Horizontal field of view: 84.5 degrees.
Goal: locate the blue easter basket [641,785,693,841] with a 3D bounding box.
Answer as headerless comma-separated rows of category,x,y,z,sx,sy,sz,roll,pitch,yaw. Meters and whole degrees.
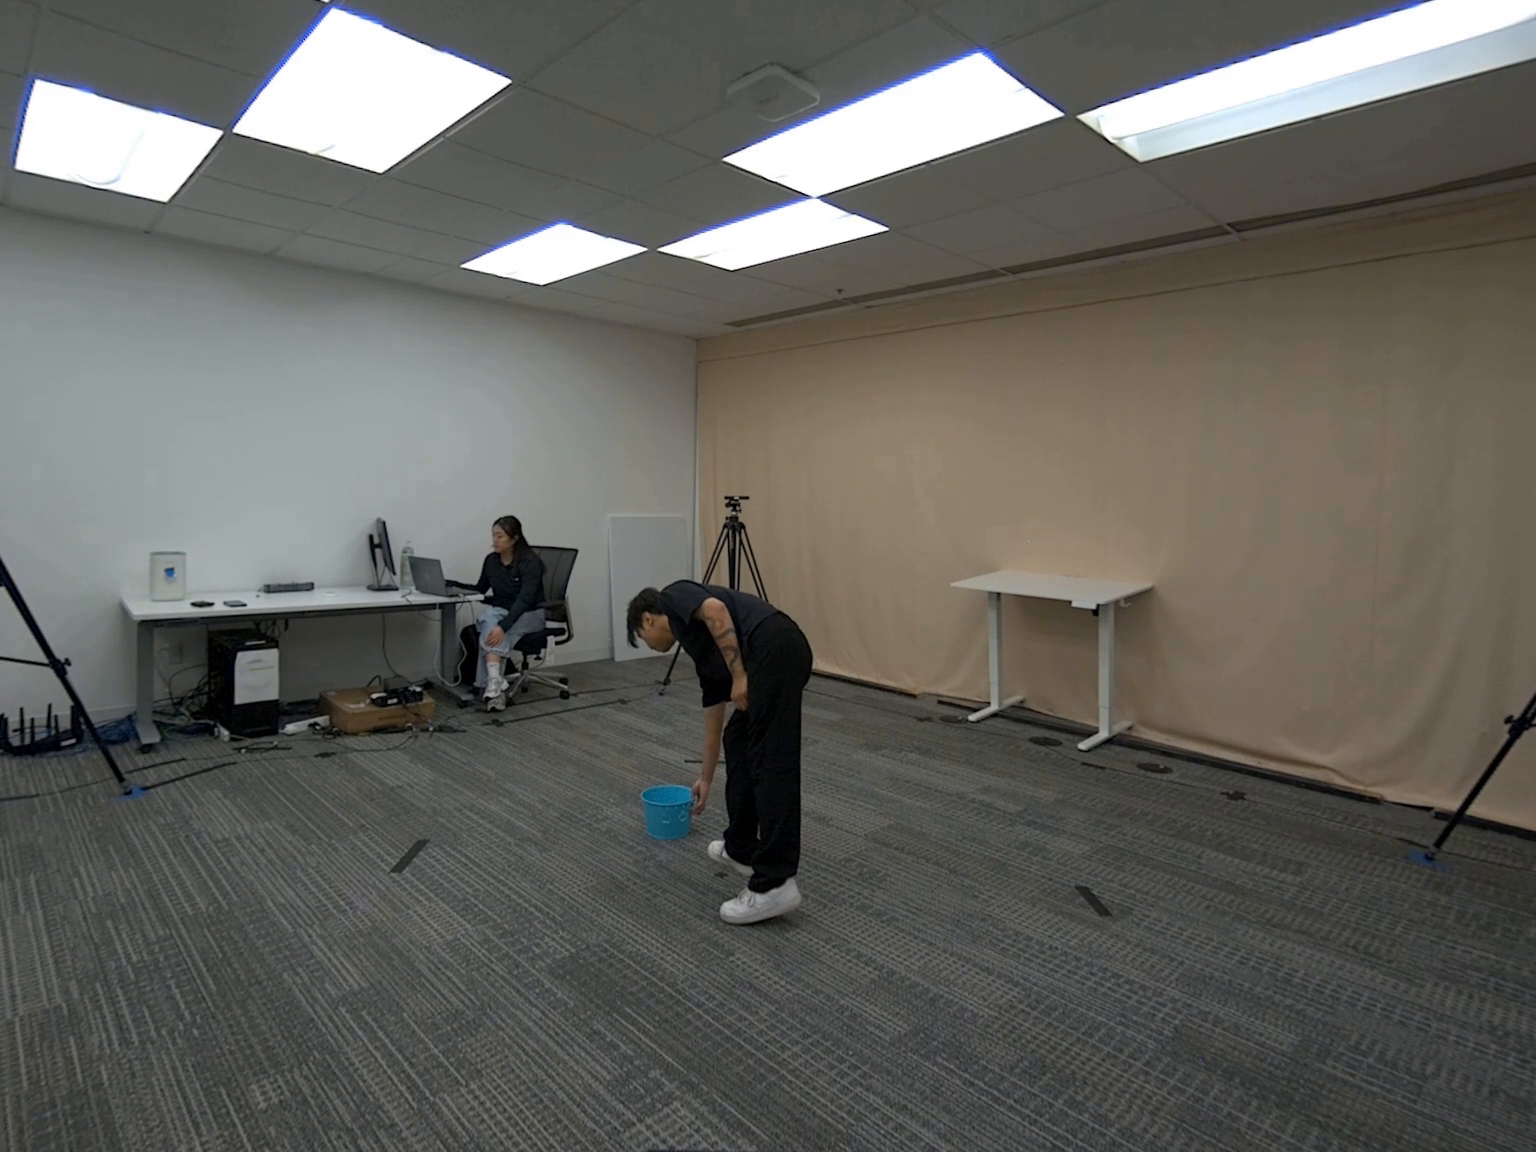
blue easter basket,-0.419,0.982,3.509,0.243,0.155,0.244,1,5,-1
